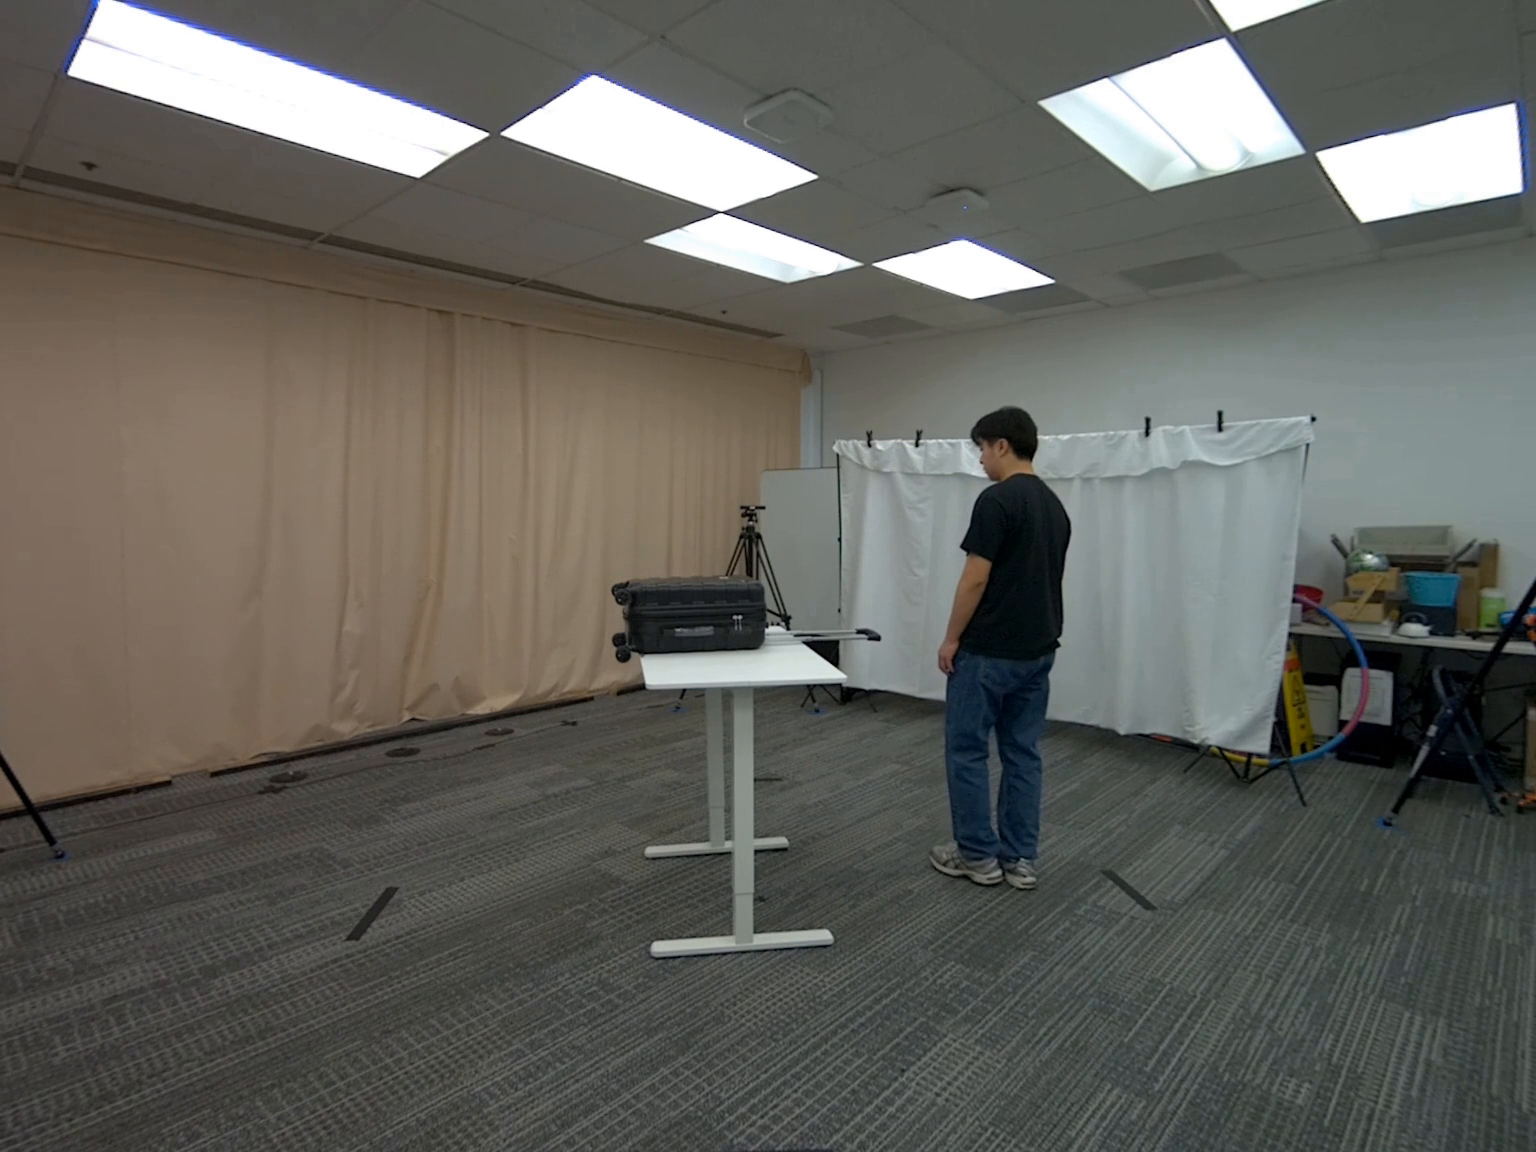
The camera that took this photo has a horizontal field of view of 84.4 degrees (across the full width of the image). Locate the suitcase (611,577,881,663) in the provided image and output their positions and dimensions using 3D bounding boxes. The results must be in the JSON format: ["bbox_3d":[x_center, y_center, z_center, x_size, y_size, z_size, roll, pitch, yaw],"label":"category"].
[{"bbox_3d":[-0.084,0.127,3.115,0.968,0.256,0.389,-4,4,-10],"label":"suitcase"}]
